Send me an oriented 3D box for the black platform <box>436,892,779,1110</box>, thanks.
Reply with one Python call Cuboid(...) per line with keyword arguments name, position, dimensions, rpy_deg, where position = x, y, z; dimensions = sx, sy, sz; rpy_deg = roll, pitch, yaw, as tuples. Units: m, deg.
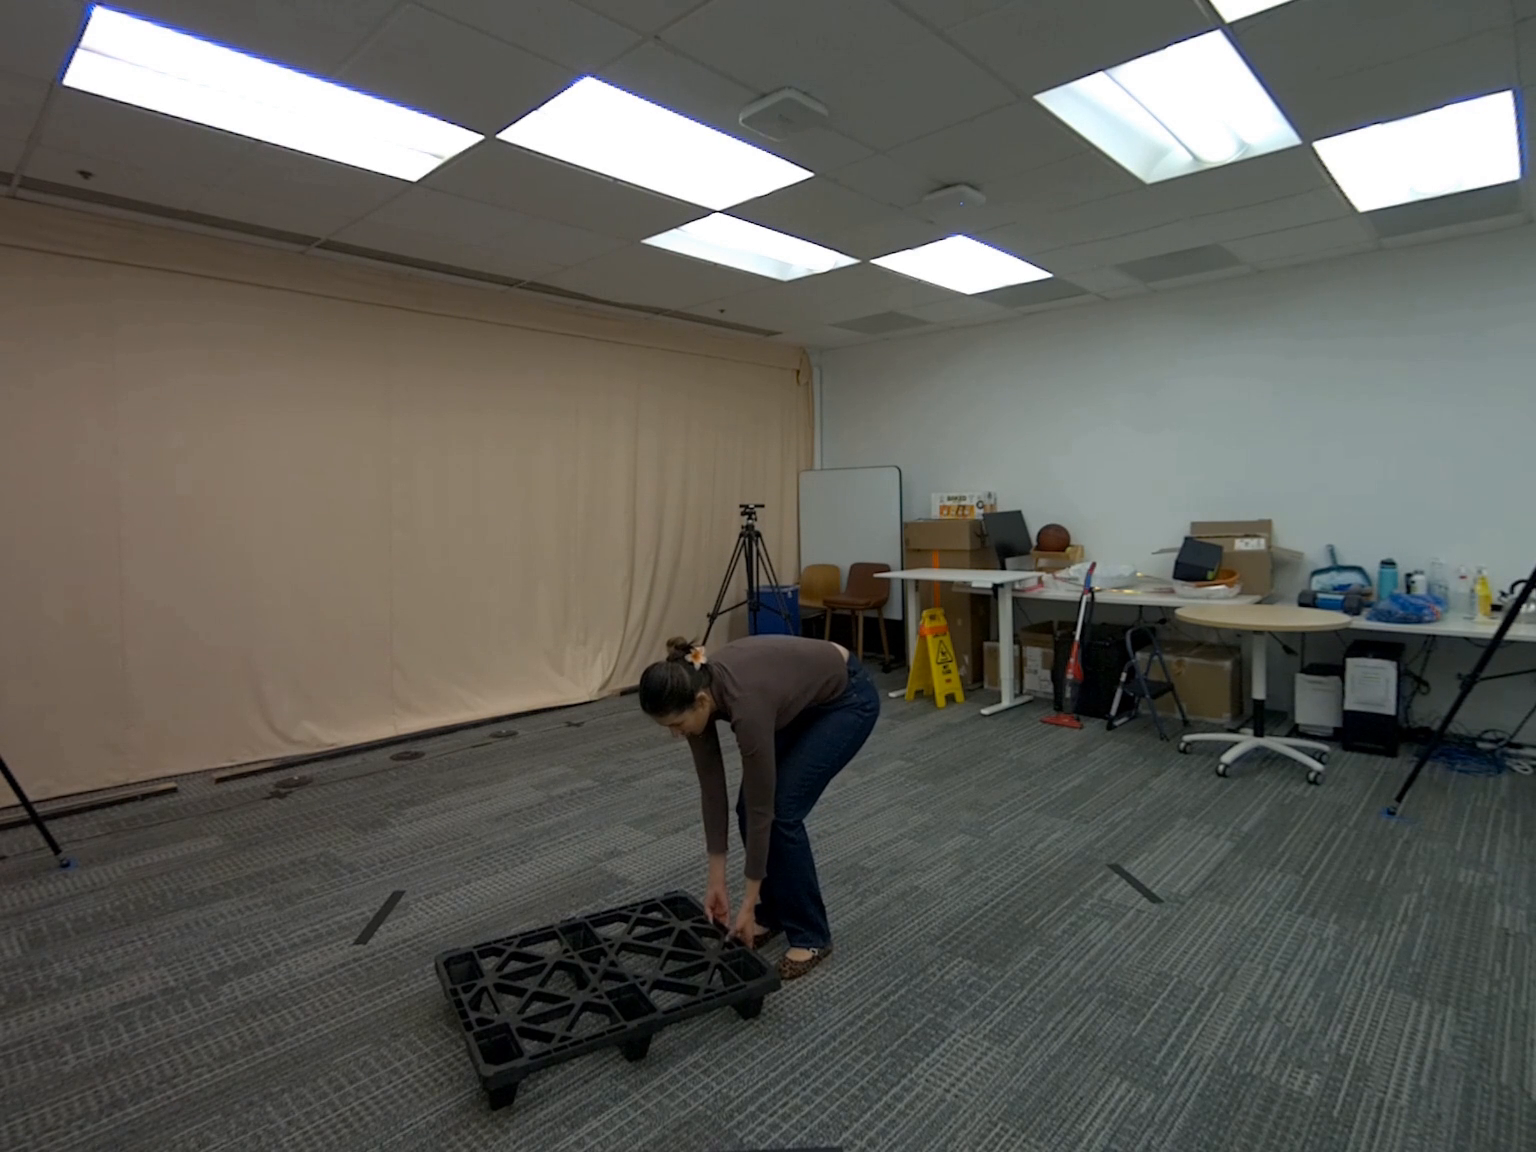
Cuboid(name="black platform", position=(-0.448, 1.141, 2.315), dimensions=(0.784, 0.143, 0.623), rpy_deg=(-4, 6, -30))
